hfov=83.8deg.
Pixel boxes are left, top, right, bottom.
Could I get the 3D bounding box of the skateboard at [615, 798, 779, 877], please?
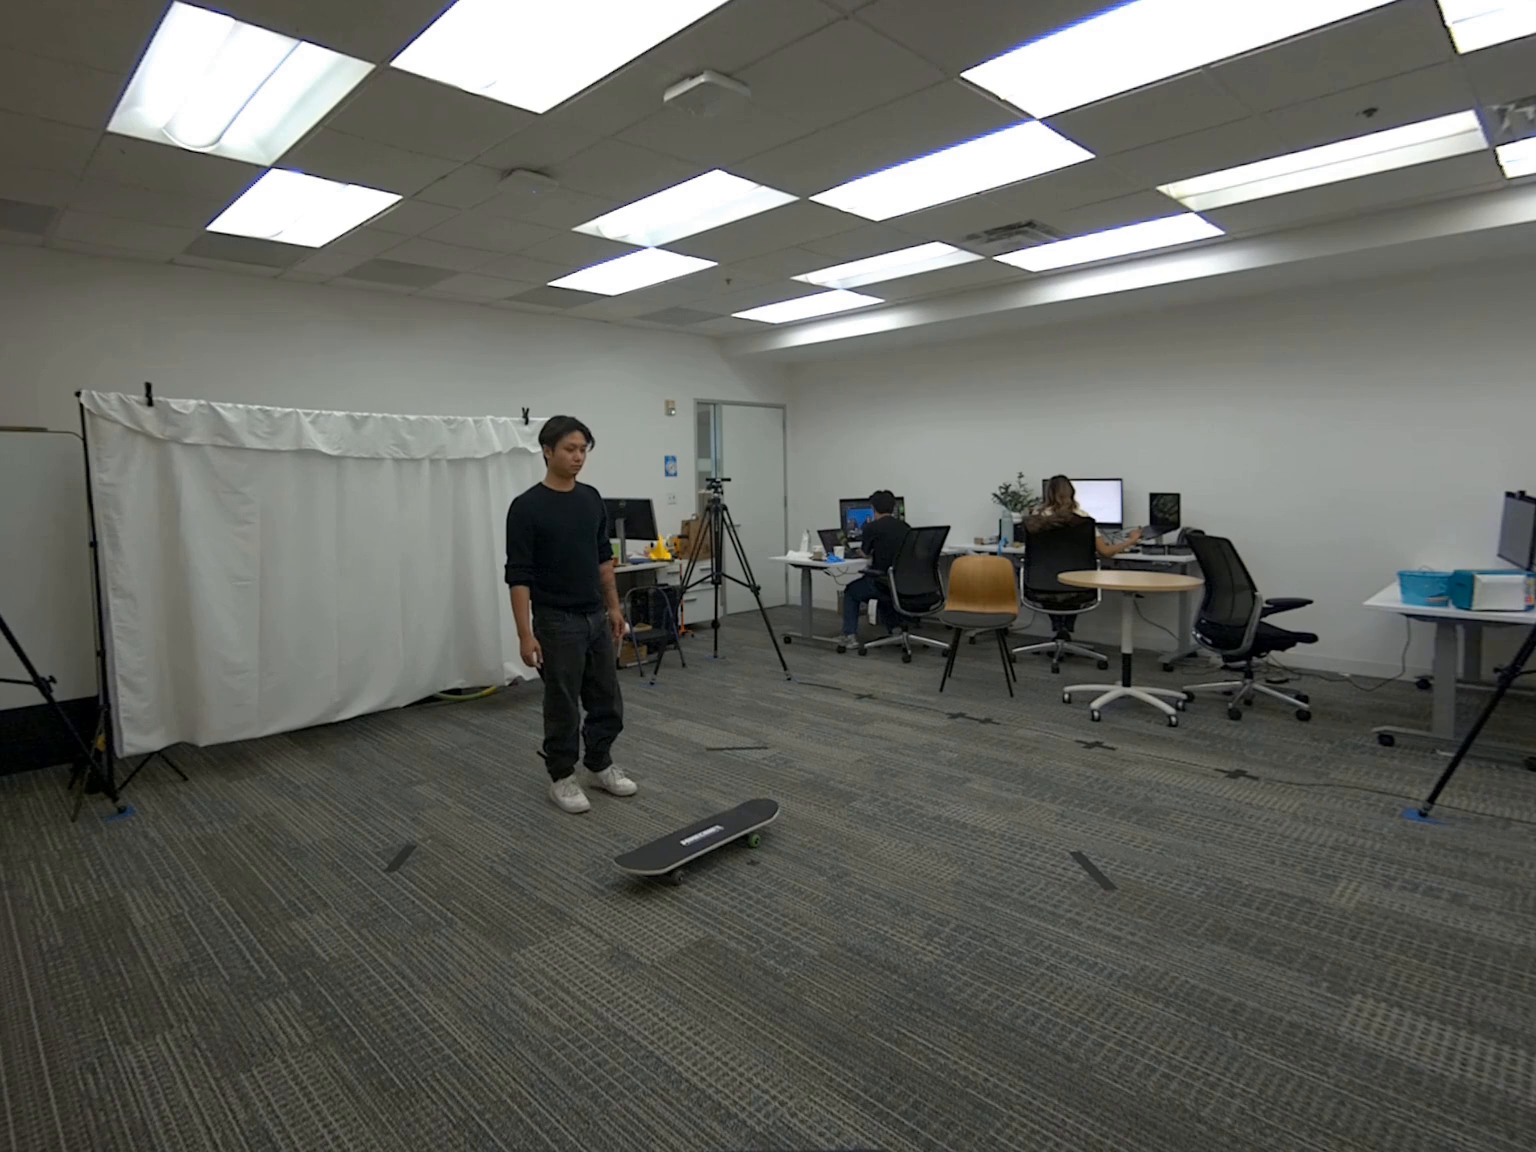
[{"bbox_3d":[-0.238,0.981,3.147,0.199,0.110,0.765,5,9,41],"label":"skateboard"}]
